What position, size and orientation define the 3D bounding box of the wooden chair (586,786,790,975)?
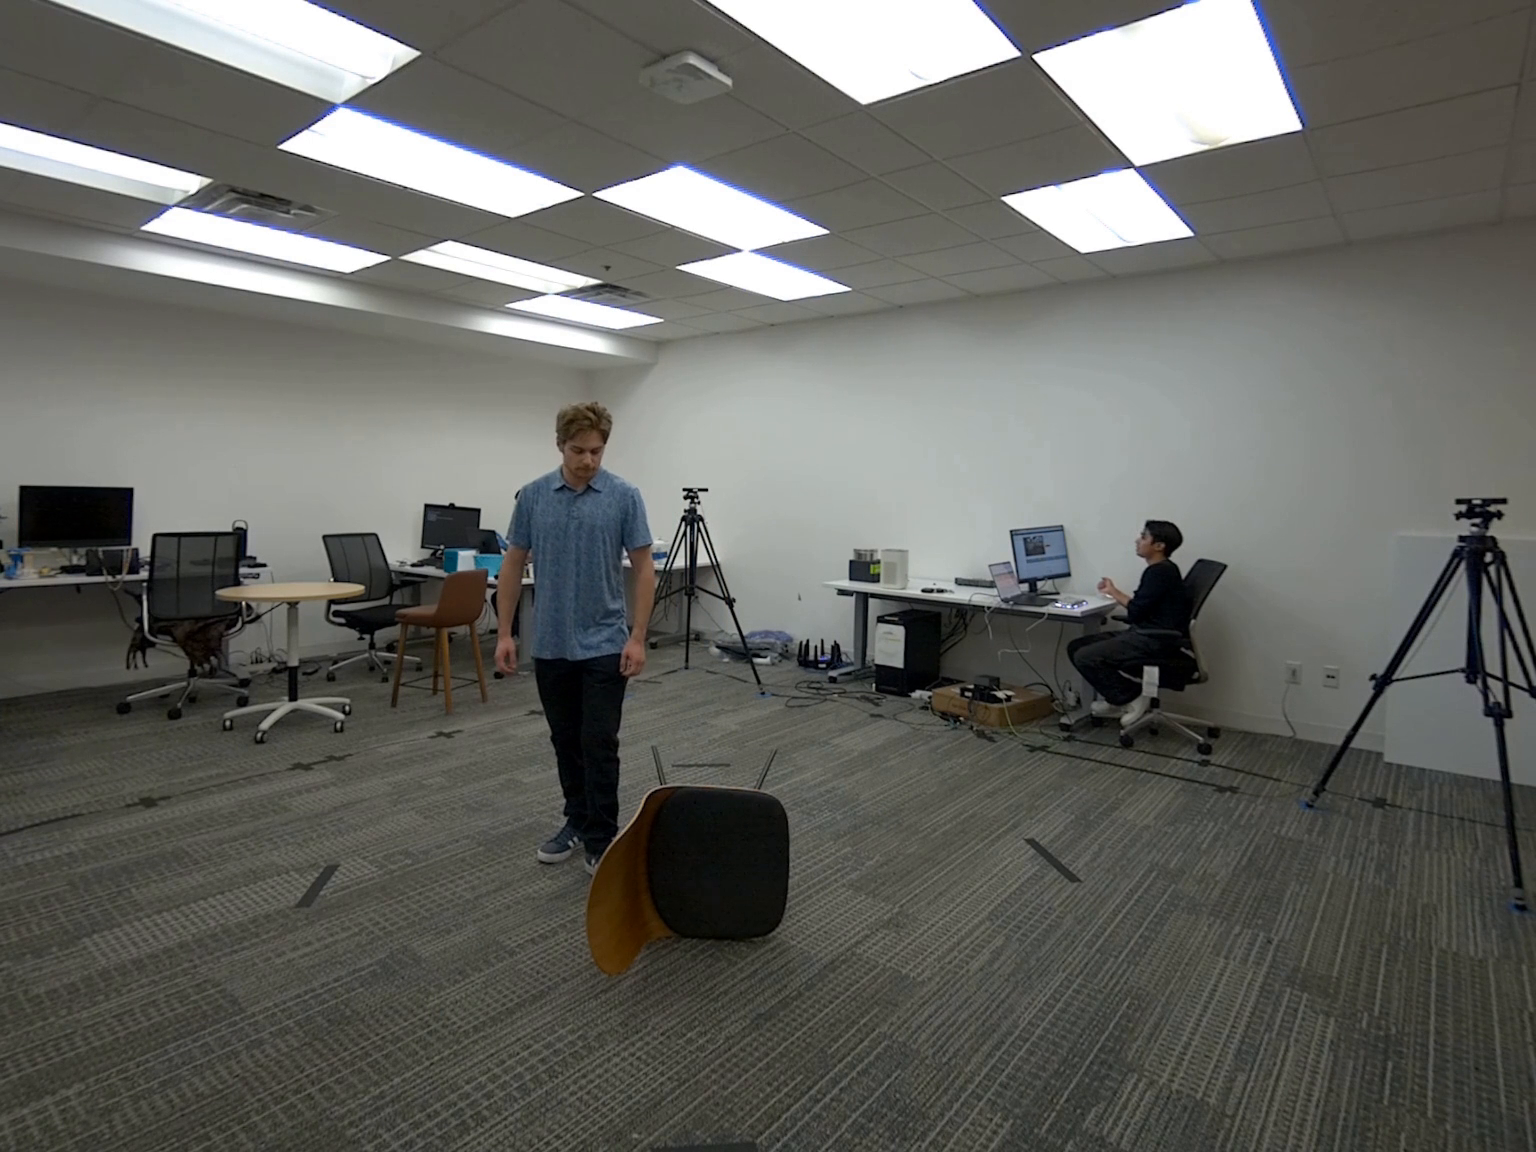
[{"bbox_3d":[-0.200,0.881,2.664,0.527,0.477,0.874,2,4,5],"label":"wooden chair"}]
